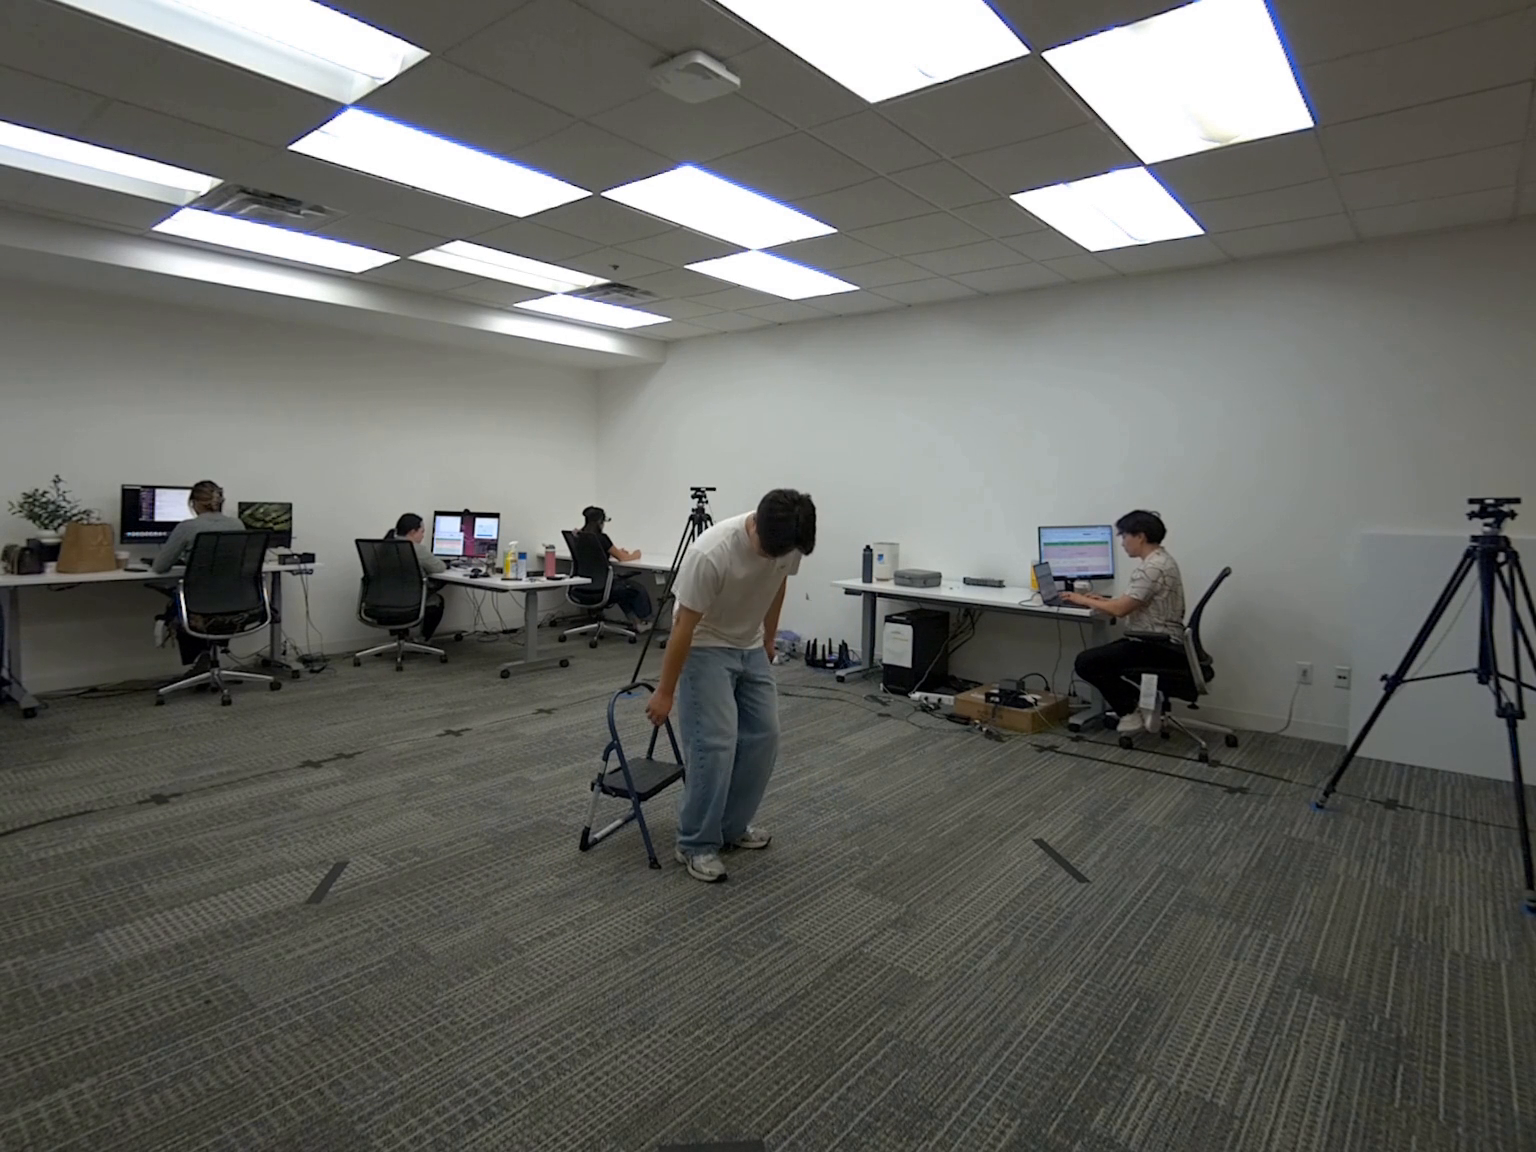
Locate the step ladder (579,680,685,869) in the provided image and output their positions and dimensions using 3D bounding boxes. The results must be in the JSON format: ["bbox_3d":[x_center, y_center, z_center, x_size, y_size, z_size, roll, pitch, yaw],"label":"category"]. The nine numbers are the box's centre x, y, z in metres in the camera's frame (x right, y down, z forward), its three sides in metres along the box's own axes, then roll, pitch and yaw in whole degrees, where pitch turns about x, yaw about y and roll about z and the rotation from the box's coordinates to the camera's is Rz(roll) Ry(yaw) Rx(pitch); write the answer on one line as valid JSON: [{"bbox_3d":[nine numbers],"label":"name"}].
[{"bbox_3d":[-0.495,0.734,3.345,0.358,0.604,0.422,2,3,22],"label":"step ladder"}]
